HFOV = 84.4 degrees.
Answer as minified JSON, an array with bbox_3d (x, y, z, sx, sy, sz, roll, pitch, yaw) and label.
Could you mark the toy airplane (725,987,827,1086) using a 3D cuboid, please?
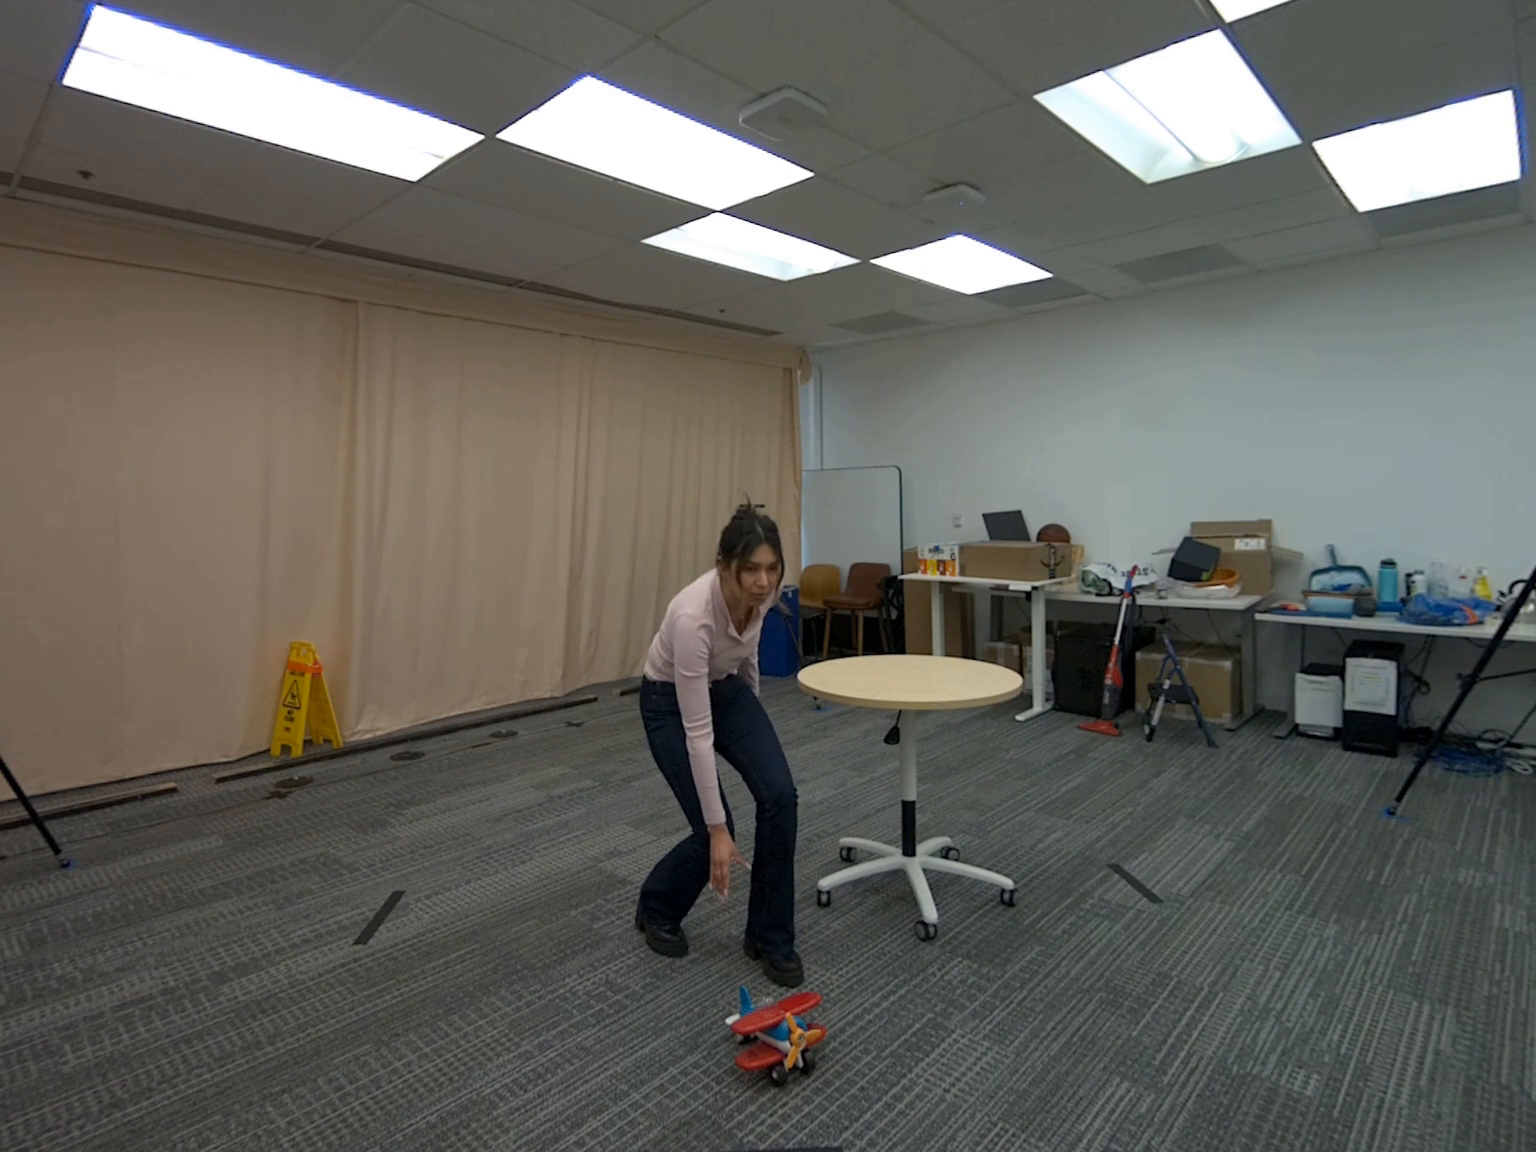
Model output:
[{"bbox_3d":[0.001,1.140,2.103,0.266,0.156,0.245,3,6,27],"label":"toy airplane"}]
